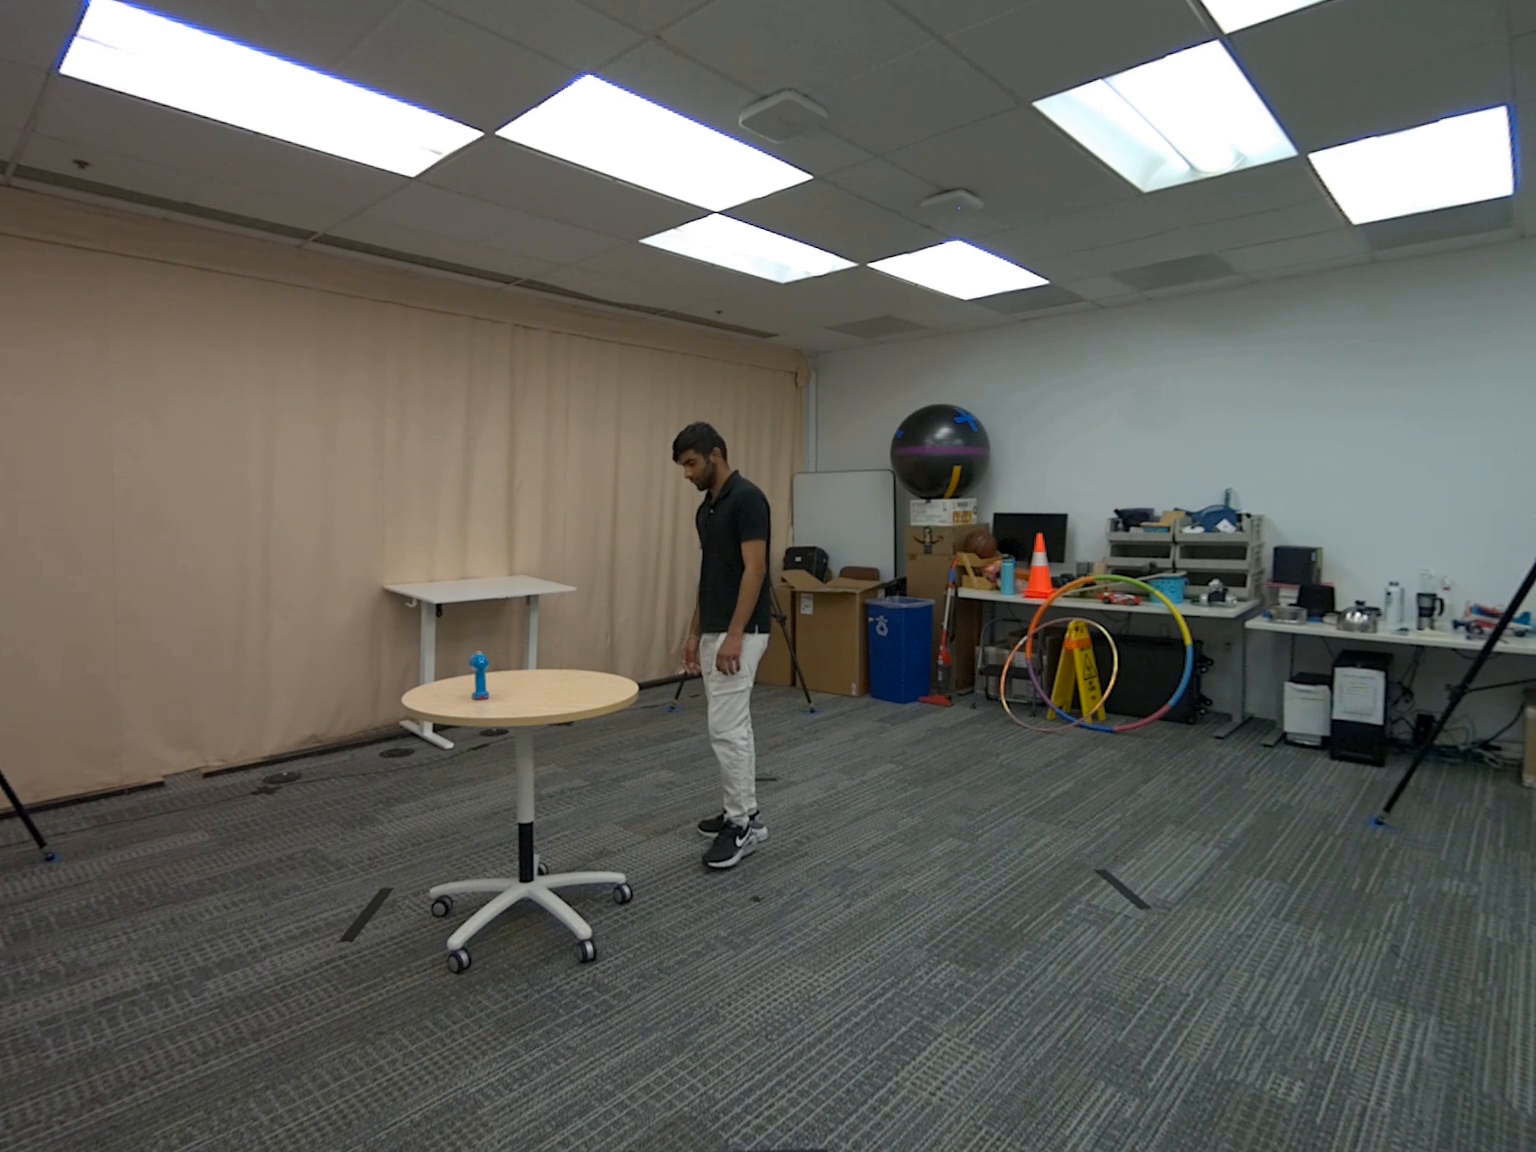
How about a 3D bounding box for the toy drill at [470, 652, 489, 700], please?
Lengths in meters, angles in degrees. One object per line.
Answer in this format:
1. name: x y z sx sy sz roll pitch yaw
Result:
1. toy drill: -0.938 0.317 2.720 0.060 0.146 0.174 -4 3 -24
